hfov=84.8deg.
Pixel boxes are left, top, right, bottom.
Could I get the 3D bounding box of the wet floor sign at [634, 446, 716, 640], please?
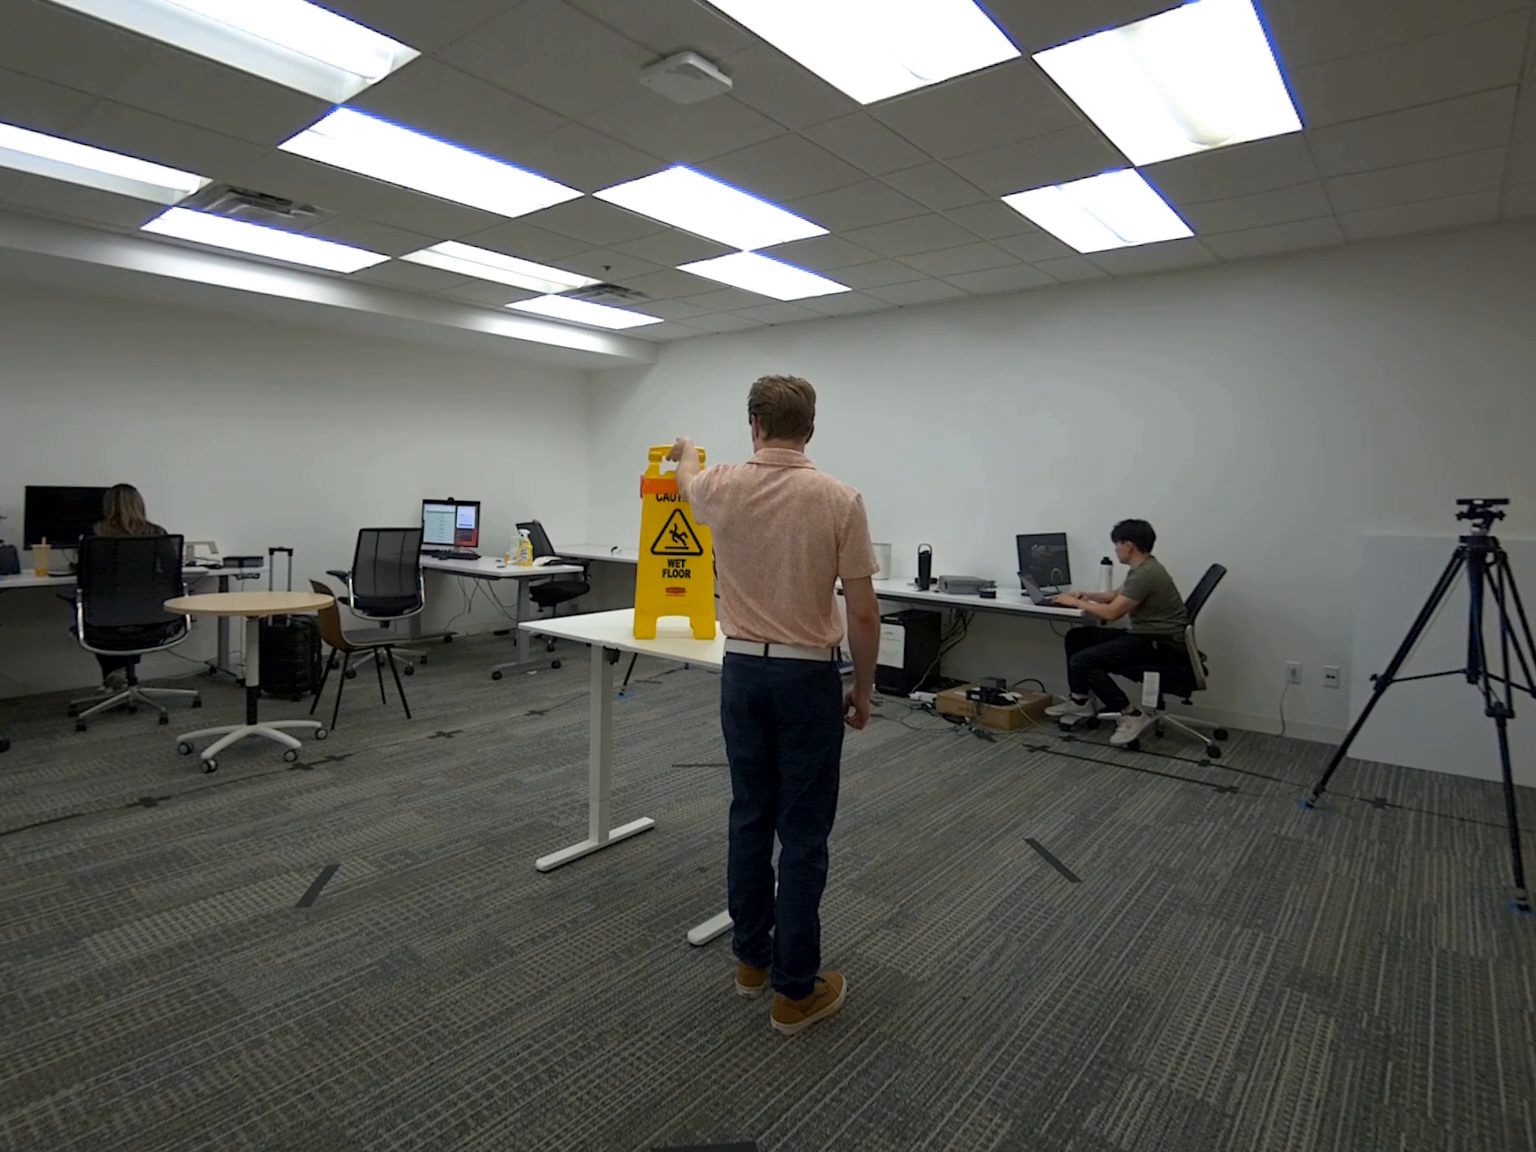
[{"bbox_3d":[-0.334,-0.116,2.958,0.281,0.644,0.292,-1,3,-4],"label":"wet floor sign"}]
